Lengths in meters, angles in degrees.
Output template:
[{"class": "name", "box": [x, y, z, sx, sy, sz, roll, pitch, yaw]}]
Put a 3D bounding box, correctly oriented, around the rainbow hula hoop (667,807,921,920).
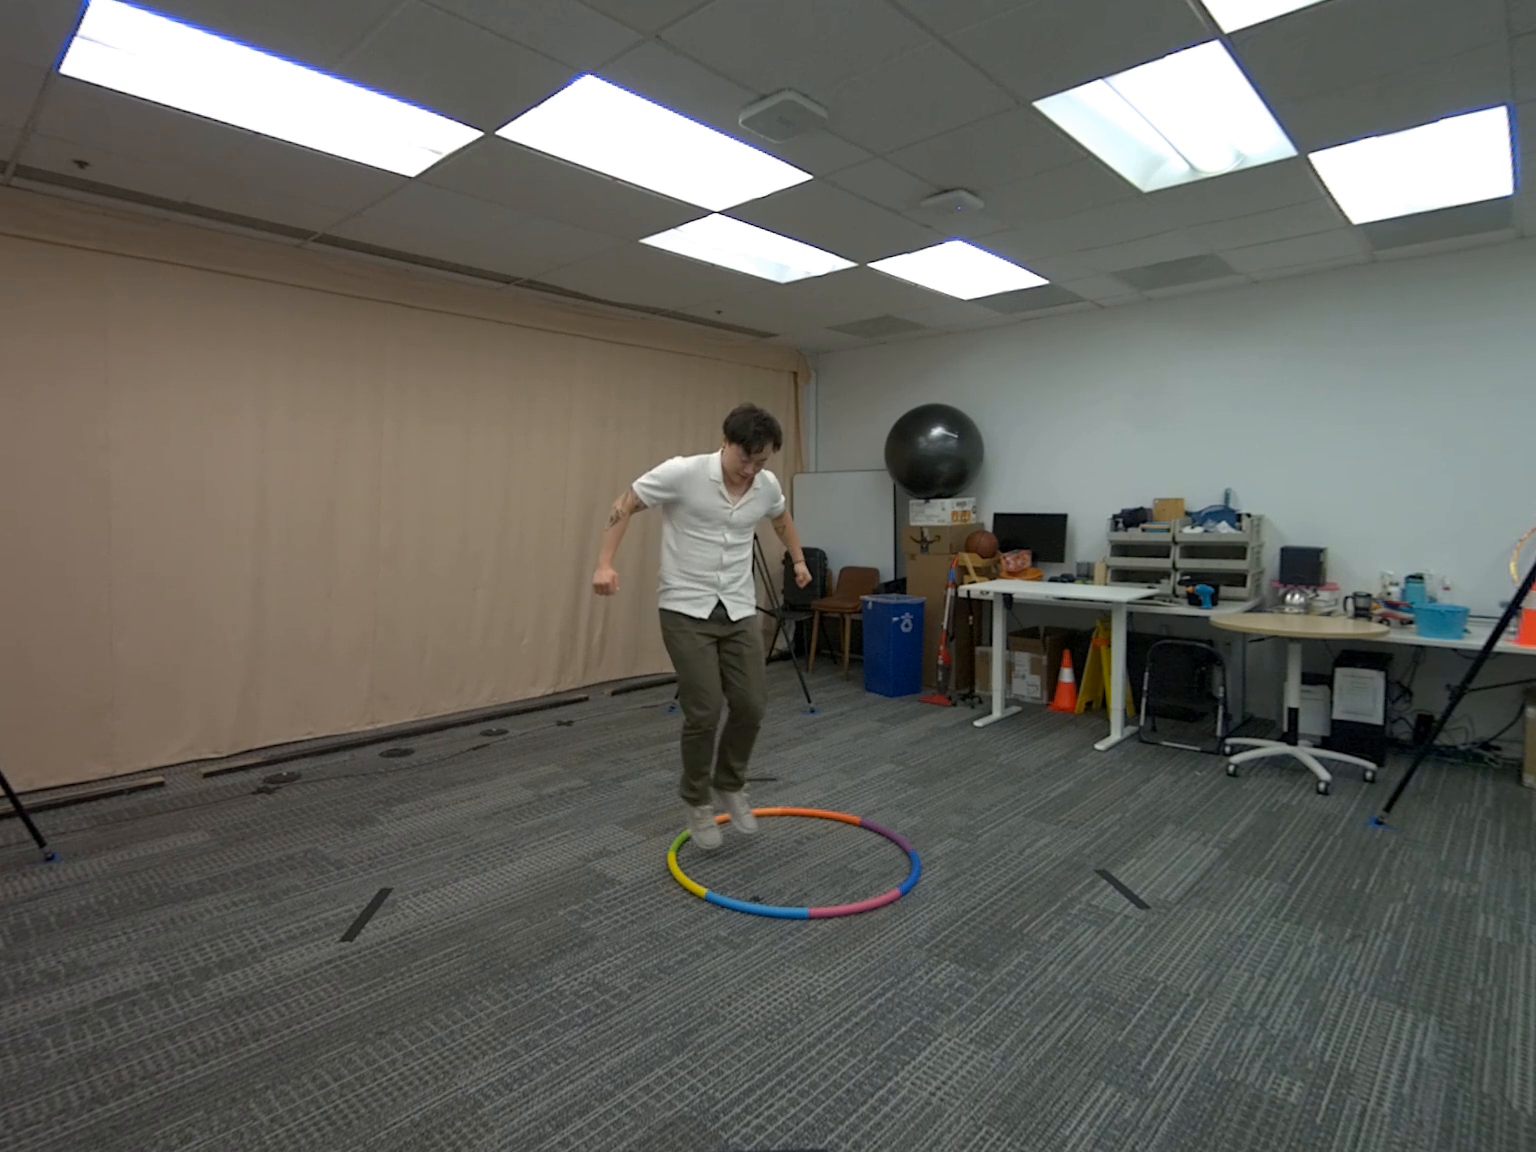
[{"class": "rainbow hula hoop", "box": [0.097, 1.088, 3.313, 0.978, 0.035, 0.982, 0, 5, -2]}]
